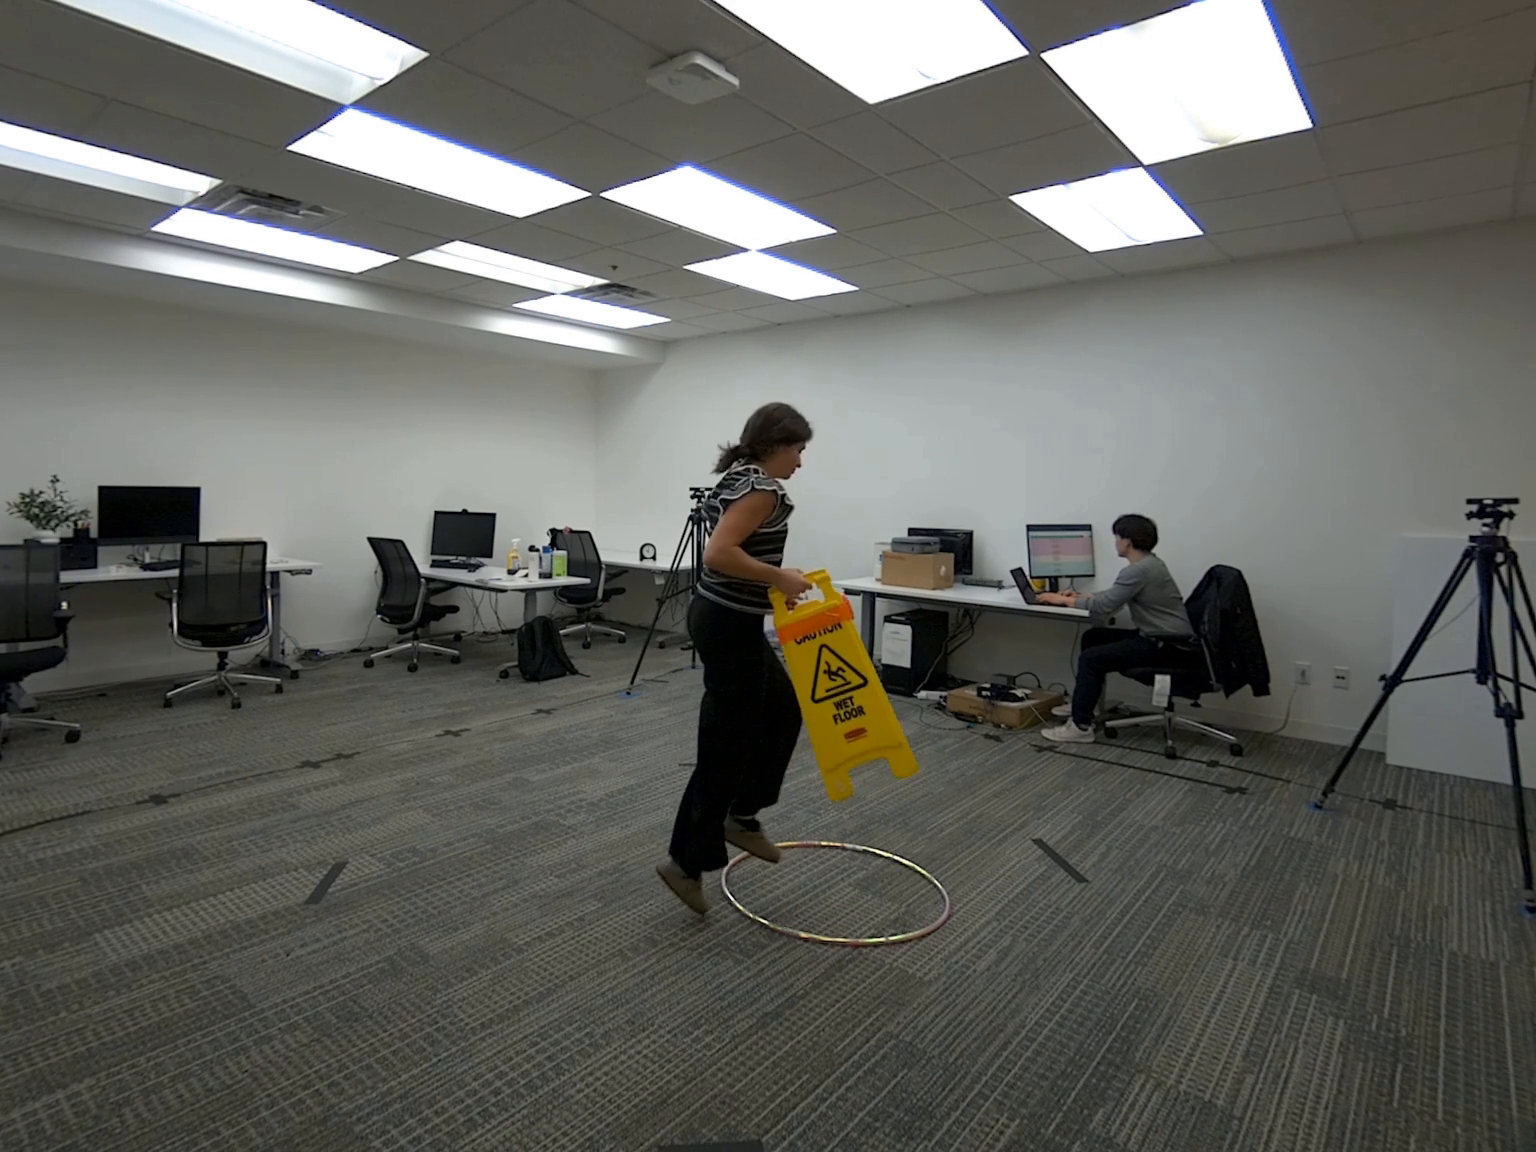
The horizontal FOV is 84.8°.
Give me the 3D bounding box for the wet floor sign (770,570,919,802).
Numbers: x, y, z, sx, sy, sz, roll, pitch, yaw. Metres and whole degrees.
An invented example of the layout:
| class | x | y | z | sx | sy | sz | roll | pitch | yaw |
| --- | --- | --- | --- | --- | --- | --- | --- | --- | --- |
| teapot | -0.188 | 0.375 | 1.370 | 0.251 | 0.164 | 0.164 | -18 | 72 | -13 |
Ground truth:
| class | x | y | z | sx | sy | sz | roll | pitch | yaw |
| --- | --- | --- | --- | --- | --- | --- | --- | --- | --- |
| wet floor sign | 0.195 | 0.354 | 2.635 | 0.283 | 0.645 | 0.289 | -19 | 1 | 4 |
